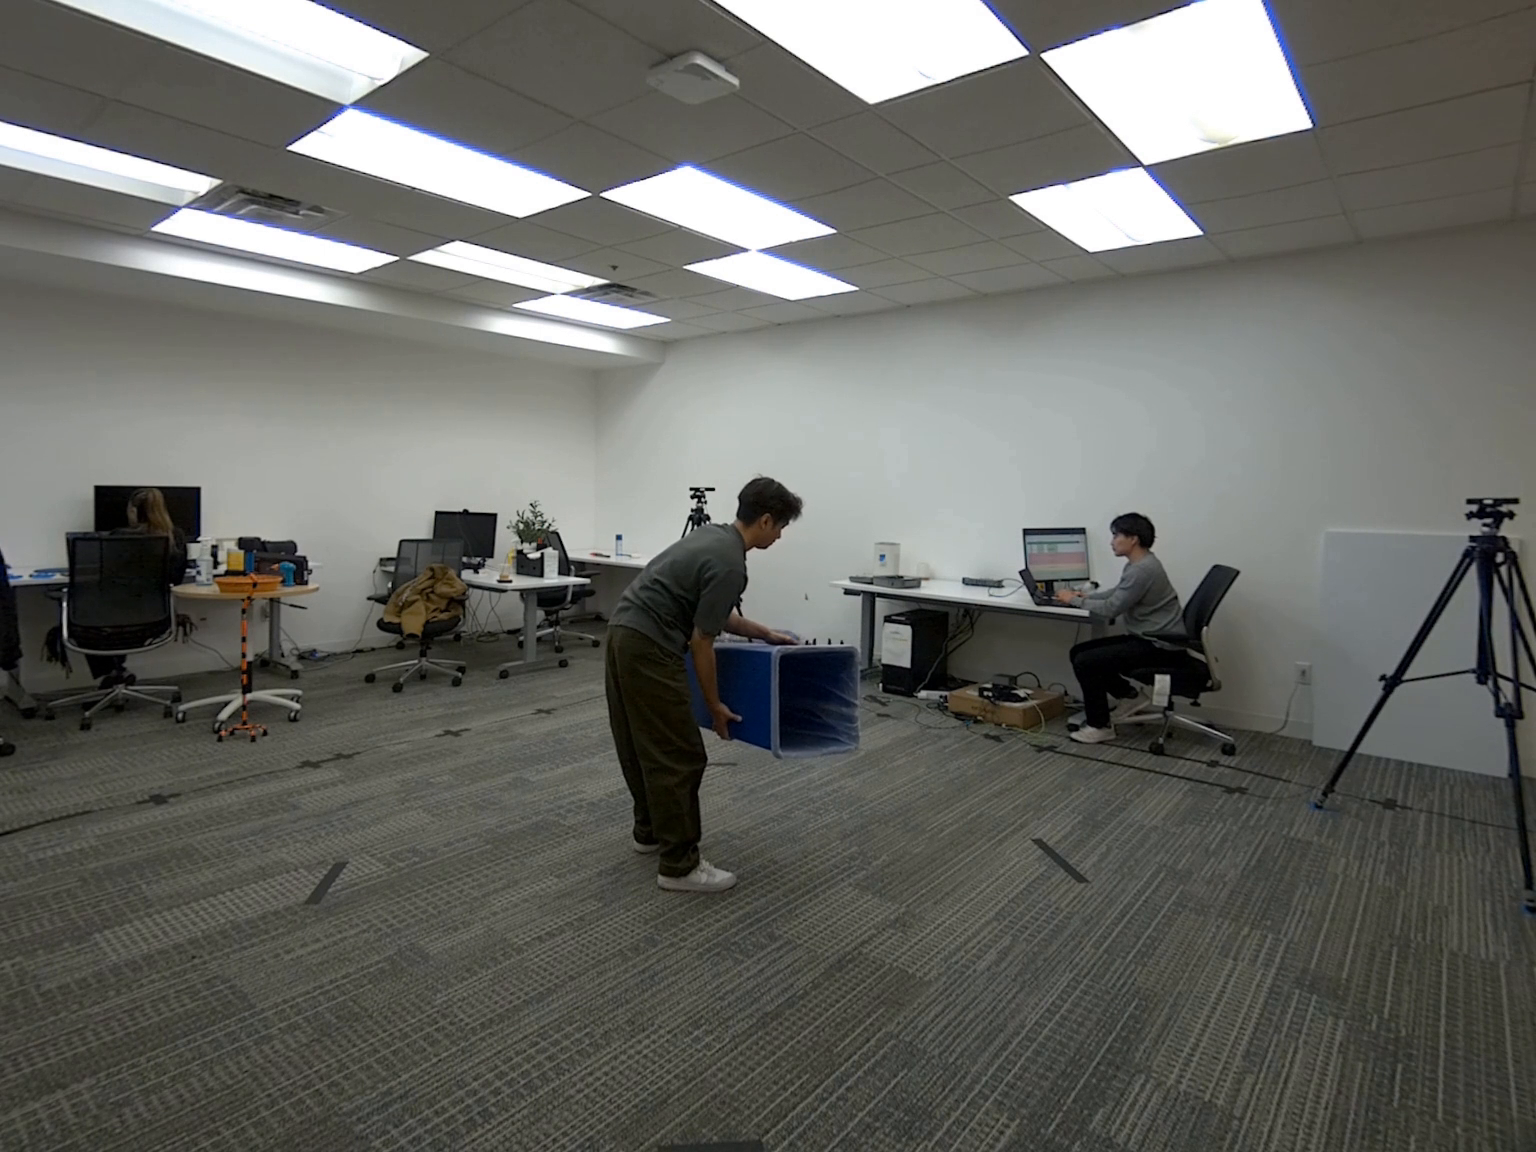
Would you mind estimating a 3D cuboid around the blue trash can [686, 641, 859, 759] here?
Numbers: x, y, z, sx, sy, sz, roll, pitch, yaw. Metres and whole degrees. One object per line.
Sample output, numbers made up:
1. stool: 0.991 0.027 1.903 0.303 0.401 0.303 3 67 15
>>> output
1. blue trash can: -0.043 0.432 3.192 0.367 0.375 0.733 2 -2 -33
